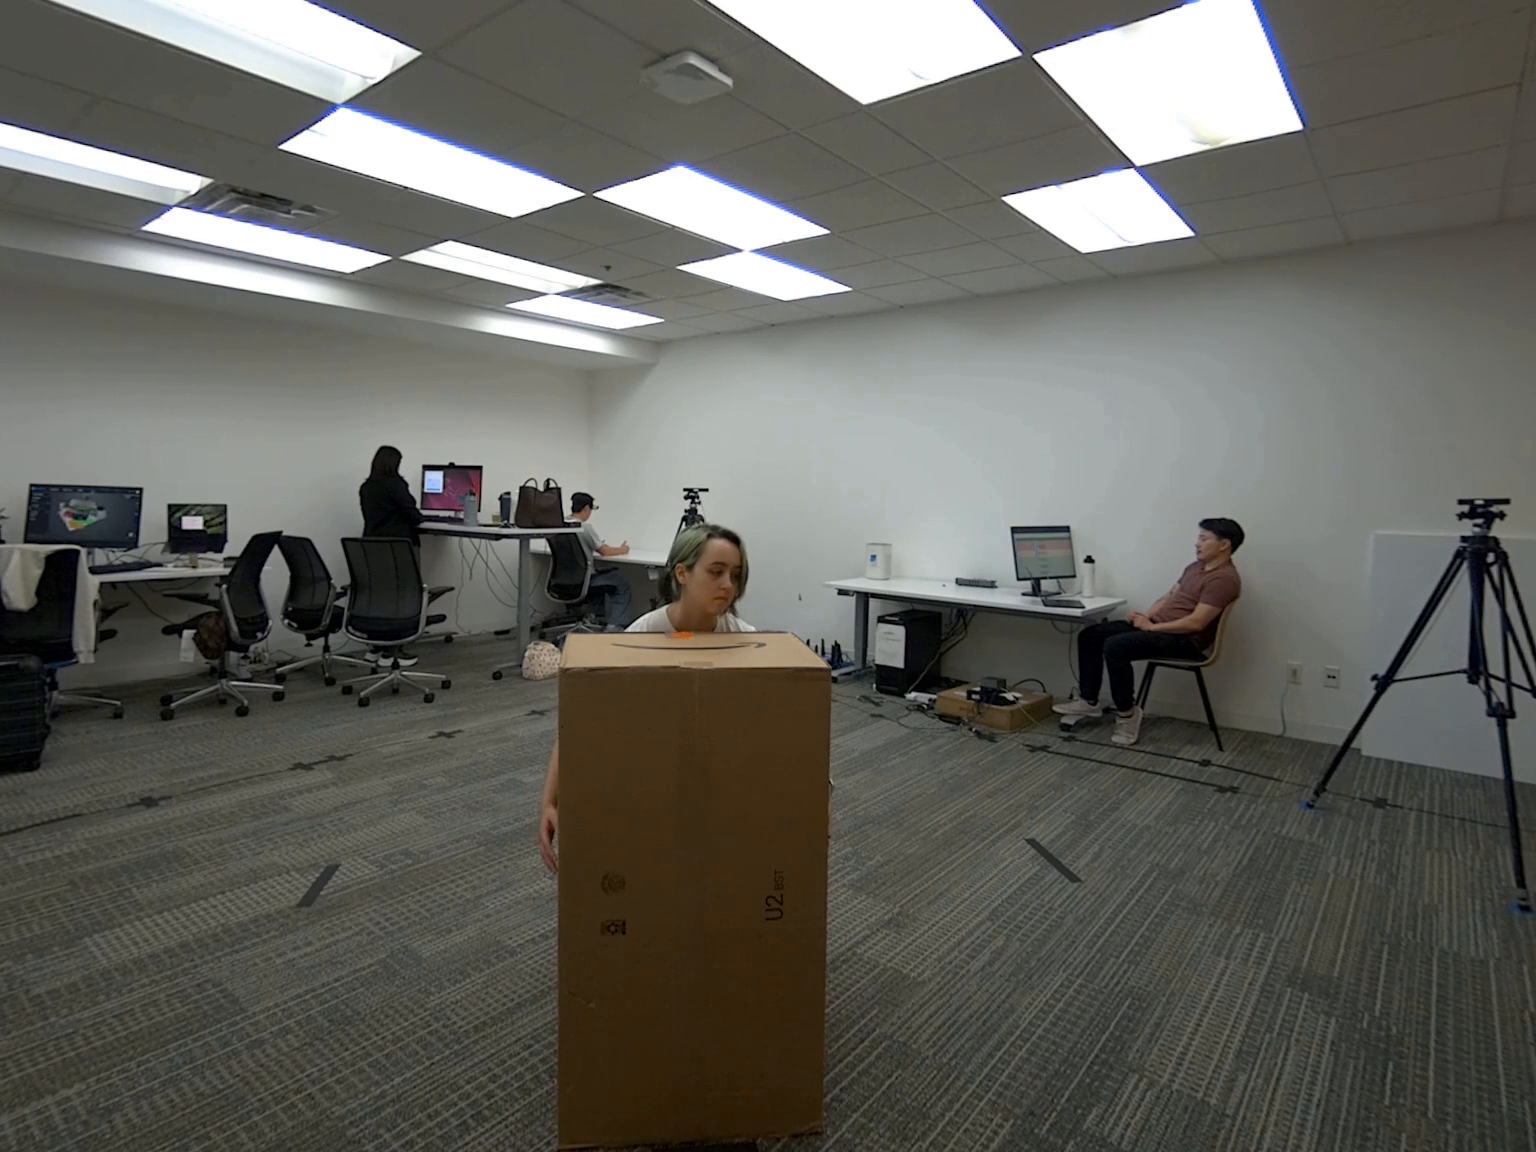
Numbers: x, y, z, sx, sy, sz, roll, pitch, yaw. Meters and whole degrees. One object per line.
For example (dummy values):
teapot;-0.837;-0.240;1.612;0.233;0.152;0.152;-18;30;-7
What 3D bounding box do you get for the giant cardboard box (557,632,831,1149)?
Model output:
giant cardboard box;-0.198;0.676;1.986;0.579;1.023;0.452;0;4;-8
